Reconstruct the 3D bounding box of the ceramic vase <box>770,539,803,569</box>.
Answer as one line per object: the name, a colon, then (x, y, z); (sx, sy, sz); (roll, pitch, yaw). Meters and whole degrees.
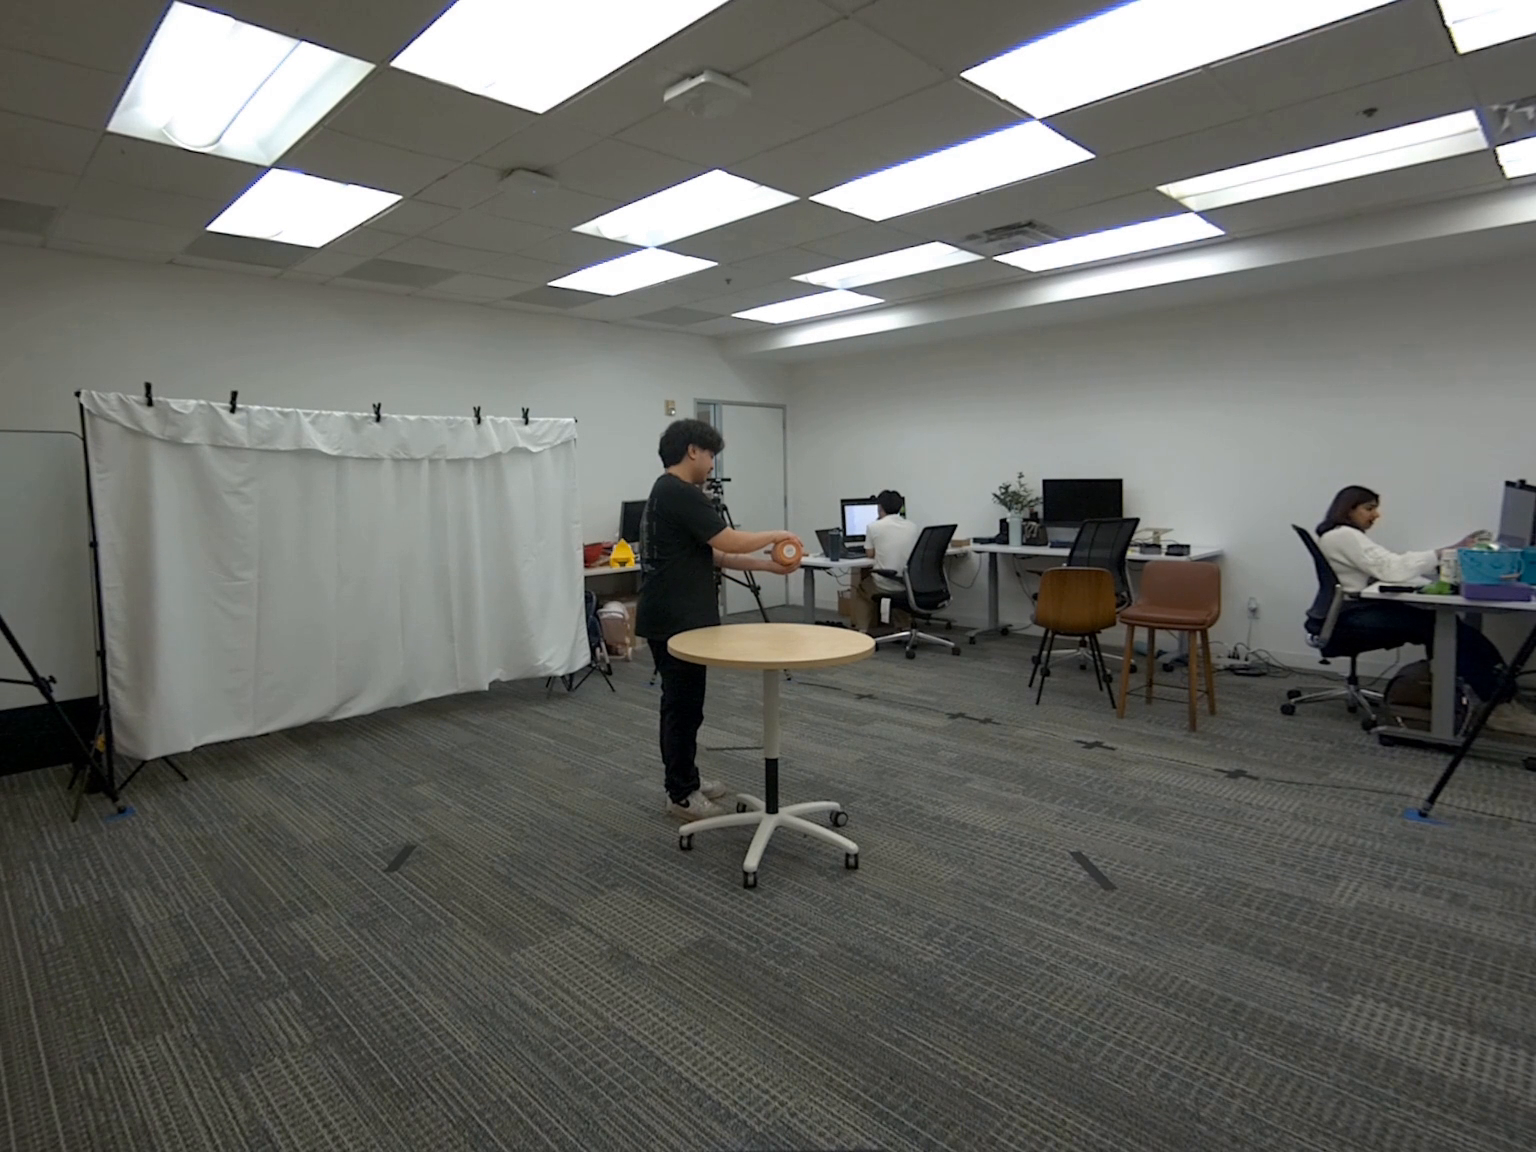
ceramic vase: (0.079, -0.100, 3.686); (0.159, 0.135, 0.219); (-37, 1, -1)
